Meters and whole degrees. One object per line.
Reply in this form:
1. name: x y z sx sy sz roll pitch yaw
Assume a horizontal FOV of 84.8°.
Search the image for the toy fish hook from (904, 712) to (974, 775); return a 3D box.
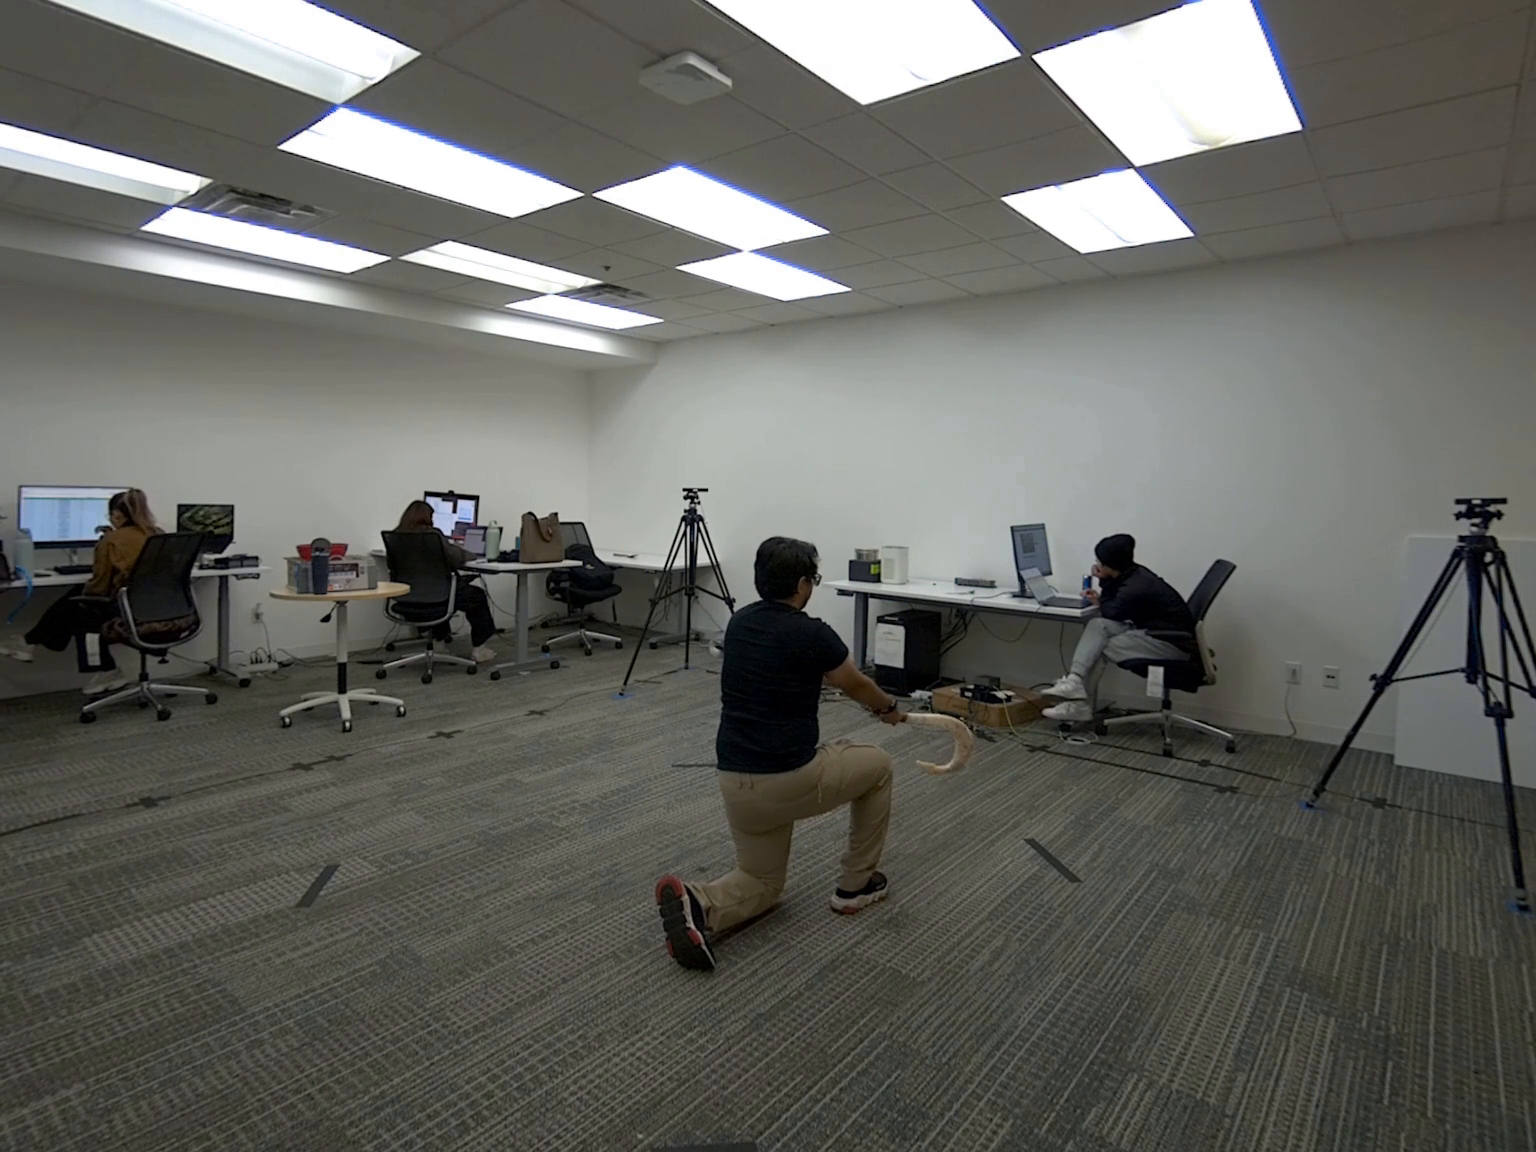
1. toy fish hook: 0.537 0.580 3.183 0.501 0.226 0.048 20 -10 -8
